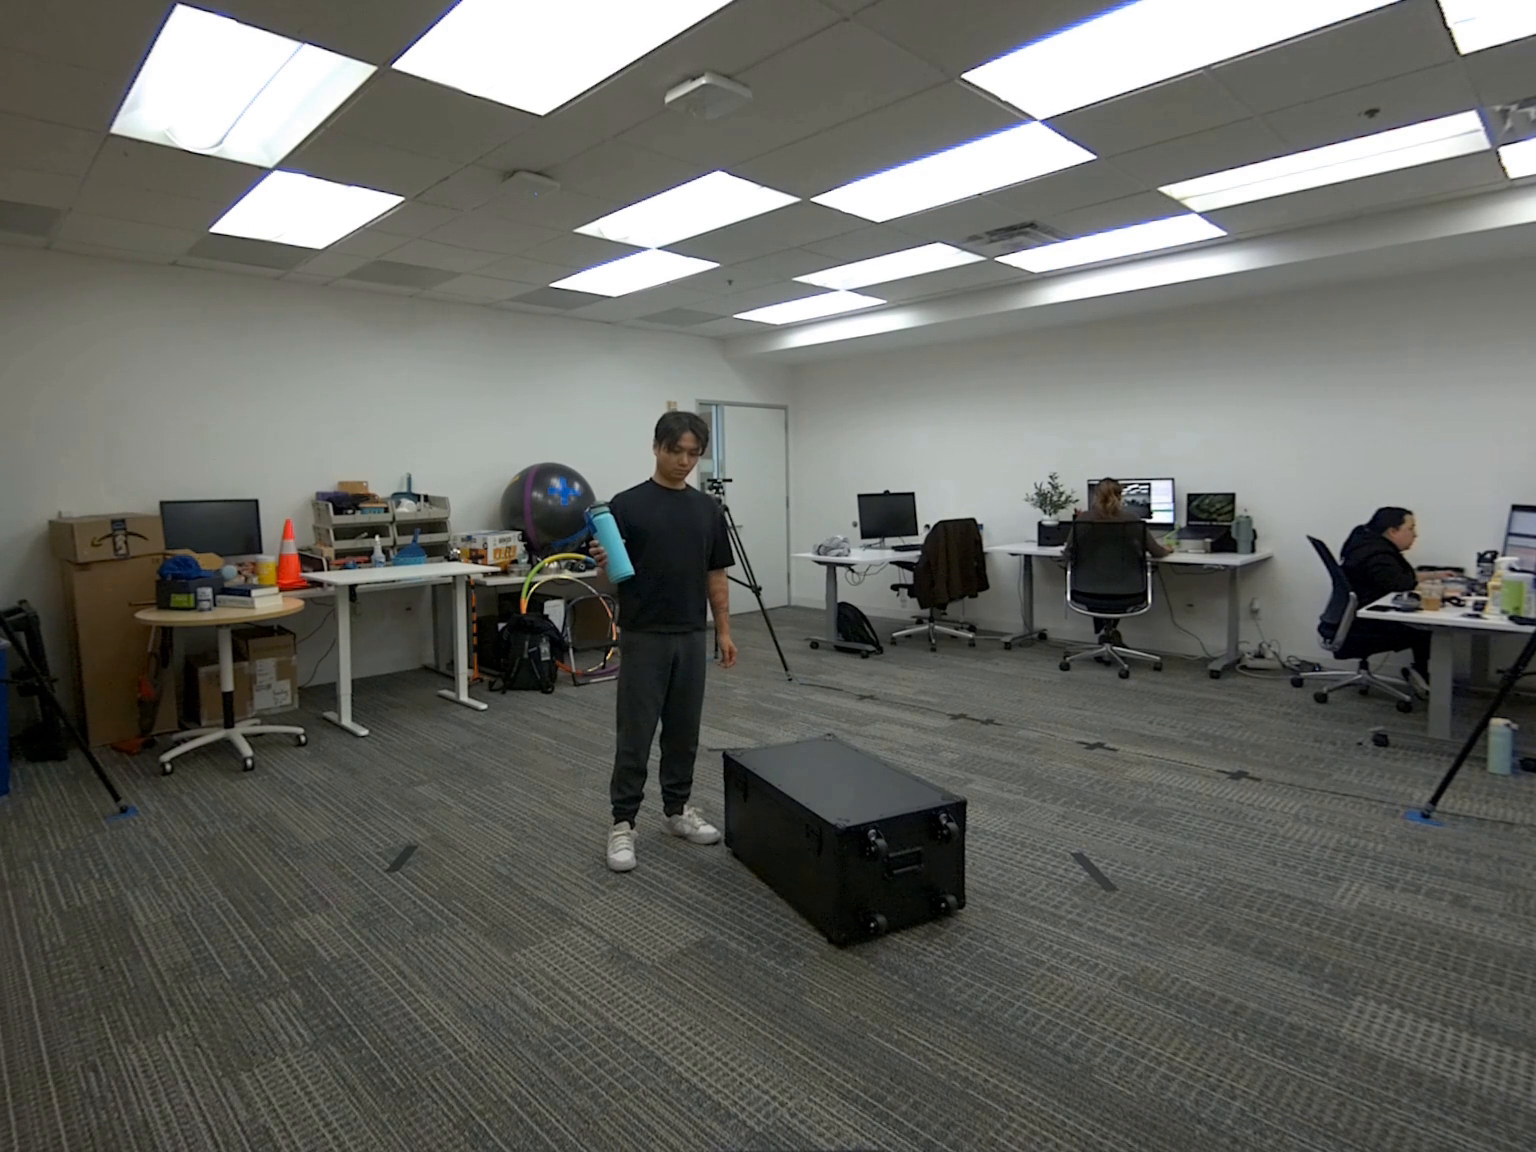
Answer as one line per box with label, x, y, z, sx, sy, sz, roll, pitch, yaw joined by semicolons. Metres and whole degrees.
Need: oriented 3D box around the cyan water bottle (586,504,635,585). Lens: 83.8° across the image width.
cyan water bottle;-0.554;-0.119;2.920;0.092;0.286;0.091;-21;-7;-4
